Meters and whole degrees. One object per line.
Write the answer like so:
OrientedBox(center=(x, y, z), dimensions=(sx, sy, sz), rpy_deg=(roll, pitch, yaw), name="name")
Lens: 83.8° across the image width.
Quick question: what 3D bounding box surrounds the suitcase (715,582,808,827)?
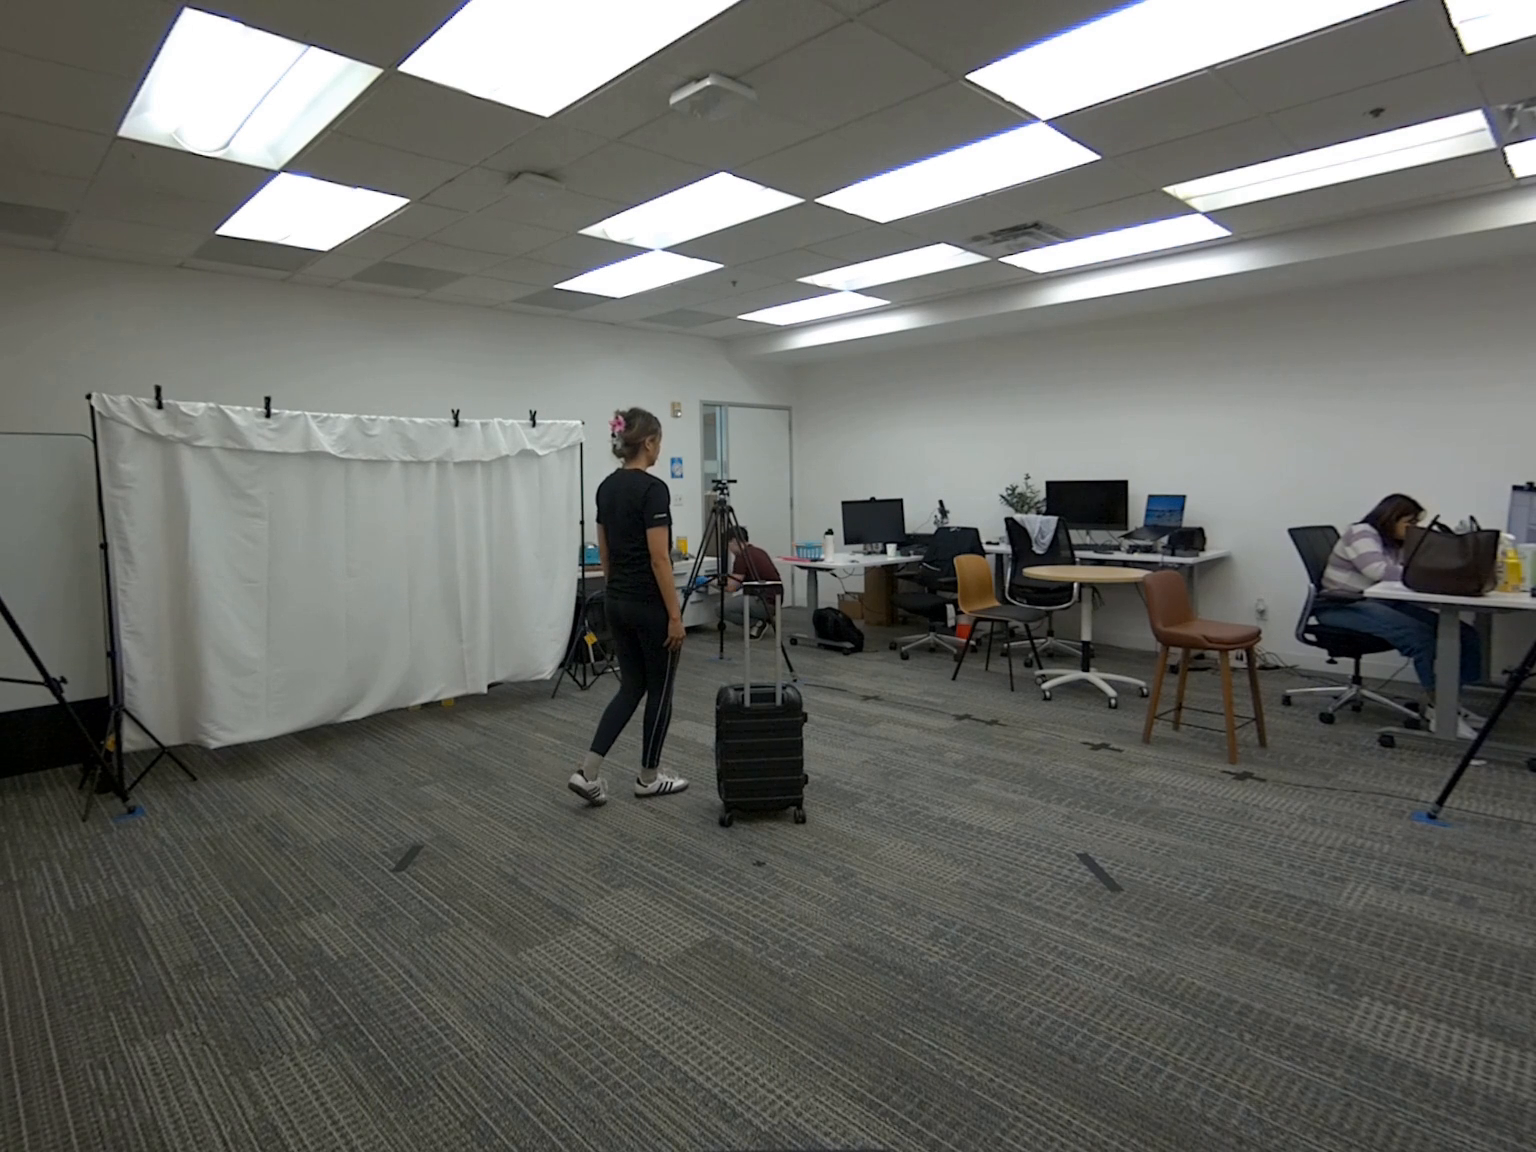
OrientedBox(center=(-0.036, 0.521, 3.566), dimensions=(0.382, 0.977, 0.258), rpy_deg=(0, 1, -5), name="suitcase")
